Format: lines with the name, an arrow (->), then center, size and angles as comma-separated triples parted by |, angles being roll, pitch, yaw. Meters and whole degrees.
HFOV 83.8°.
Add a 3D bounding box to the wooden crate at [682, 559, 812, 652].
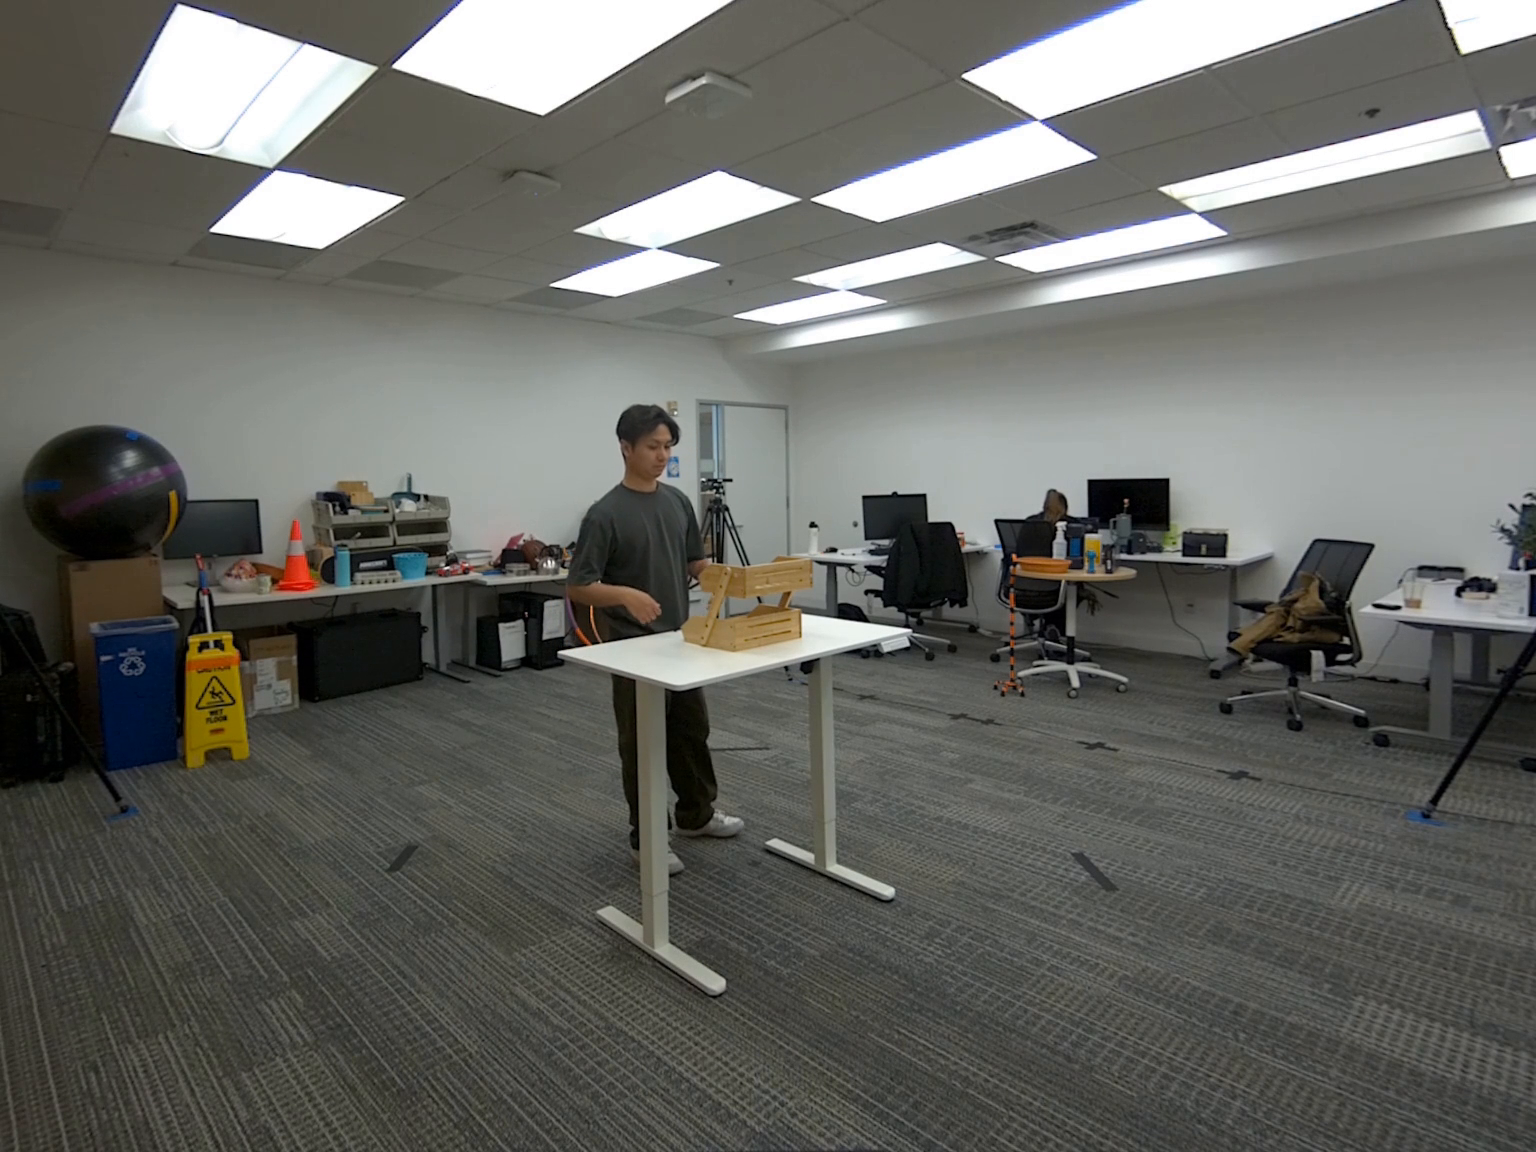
wooden crate -> -0.064, 0.074, 2.720 | 0.316, 0.272, 0.311 | -7, 8, -43
